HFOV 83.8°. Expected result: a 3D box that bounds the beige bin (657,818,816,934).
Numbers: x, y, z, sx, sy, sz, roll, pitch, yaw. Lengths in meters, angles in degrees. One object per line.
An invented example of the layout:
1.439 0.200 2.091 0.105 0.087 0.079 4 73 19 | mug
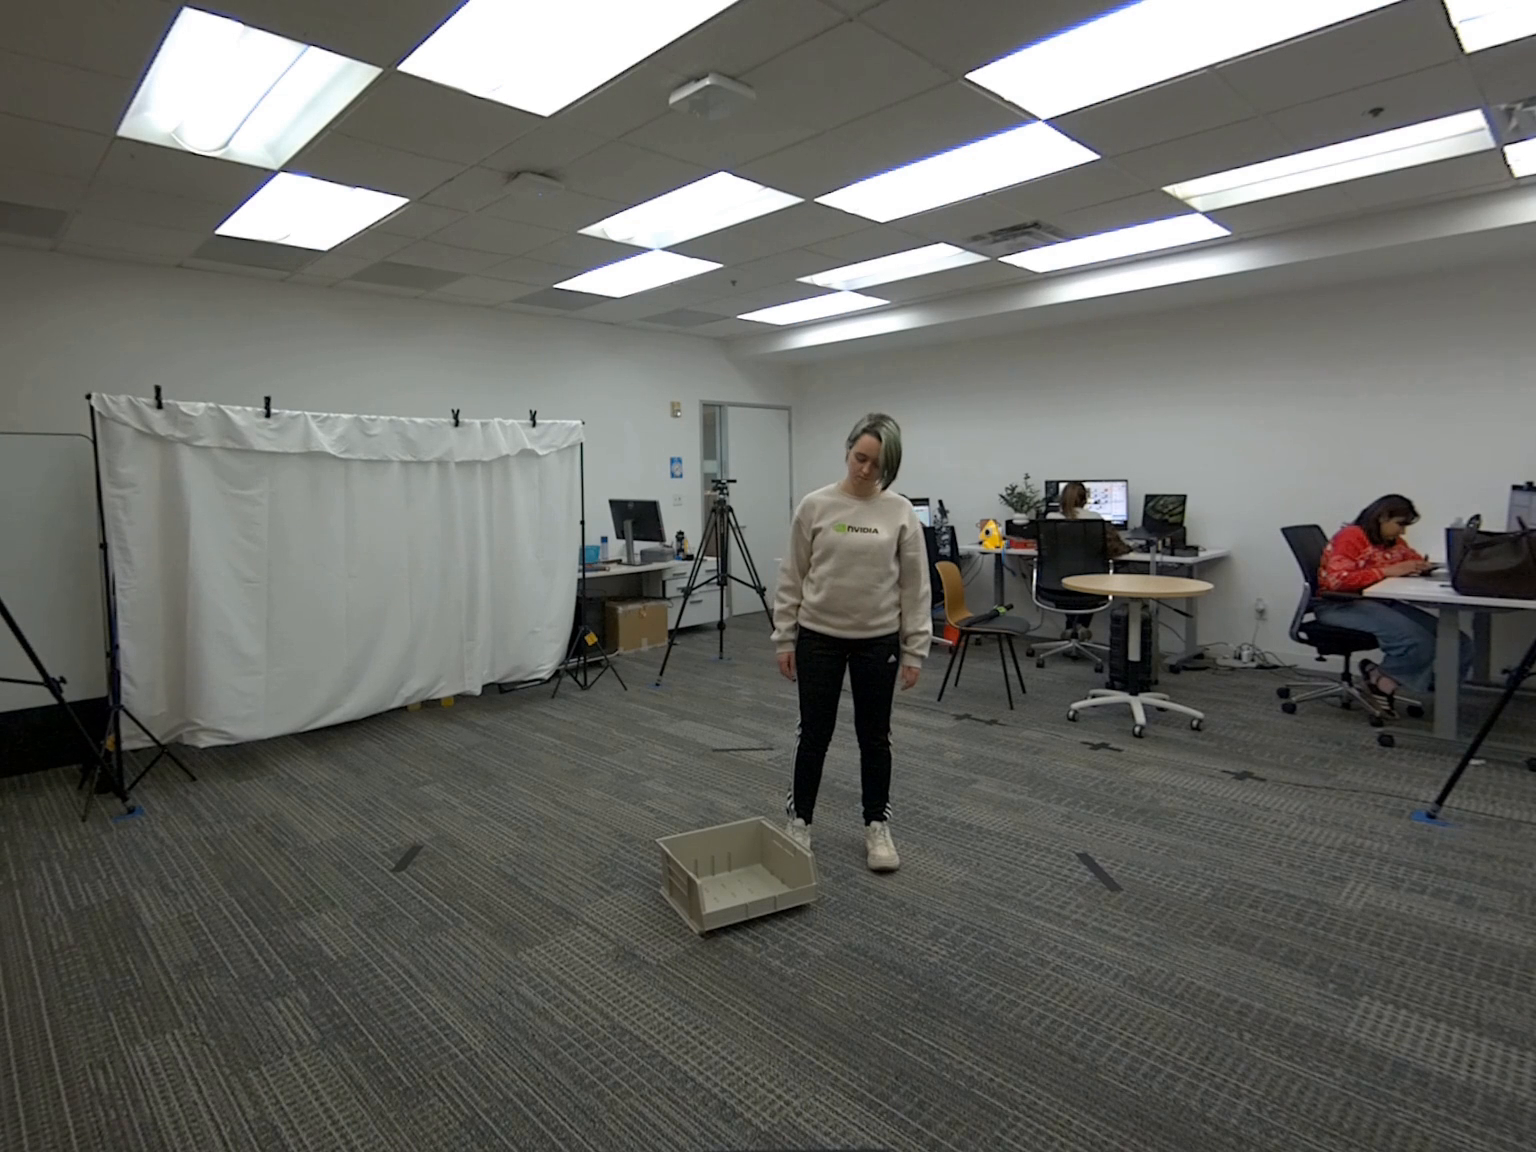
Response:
-0.106 0.992 2.832 0.413 0.188 0.387 -4 6 -28 | beige bin
